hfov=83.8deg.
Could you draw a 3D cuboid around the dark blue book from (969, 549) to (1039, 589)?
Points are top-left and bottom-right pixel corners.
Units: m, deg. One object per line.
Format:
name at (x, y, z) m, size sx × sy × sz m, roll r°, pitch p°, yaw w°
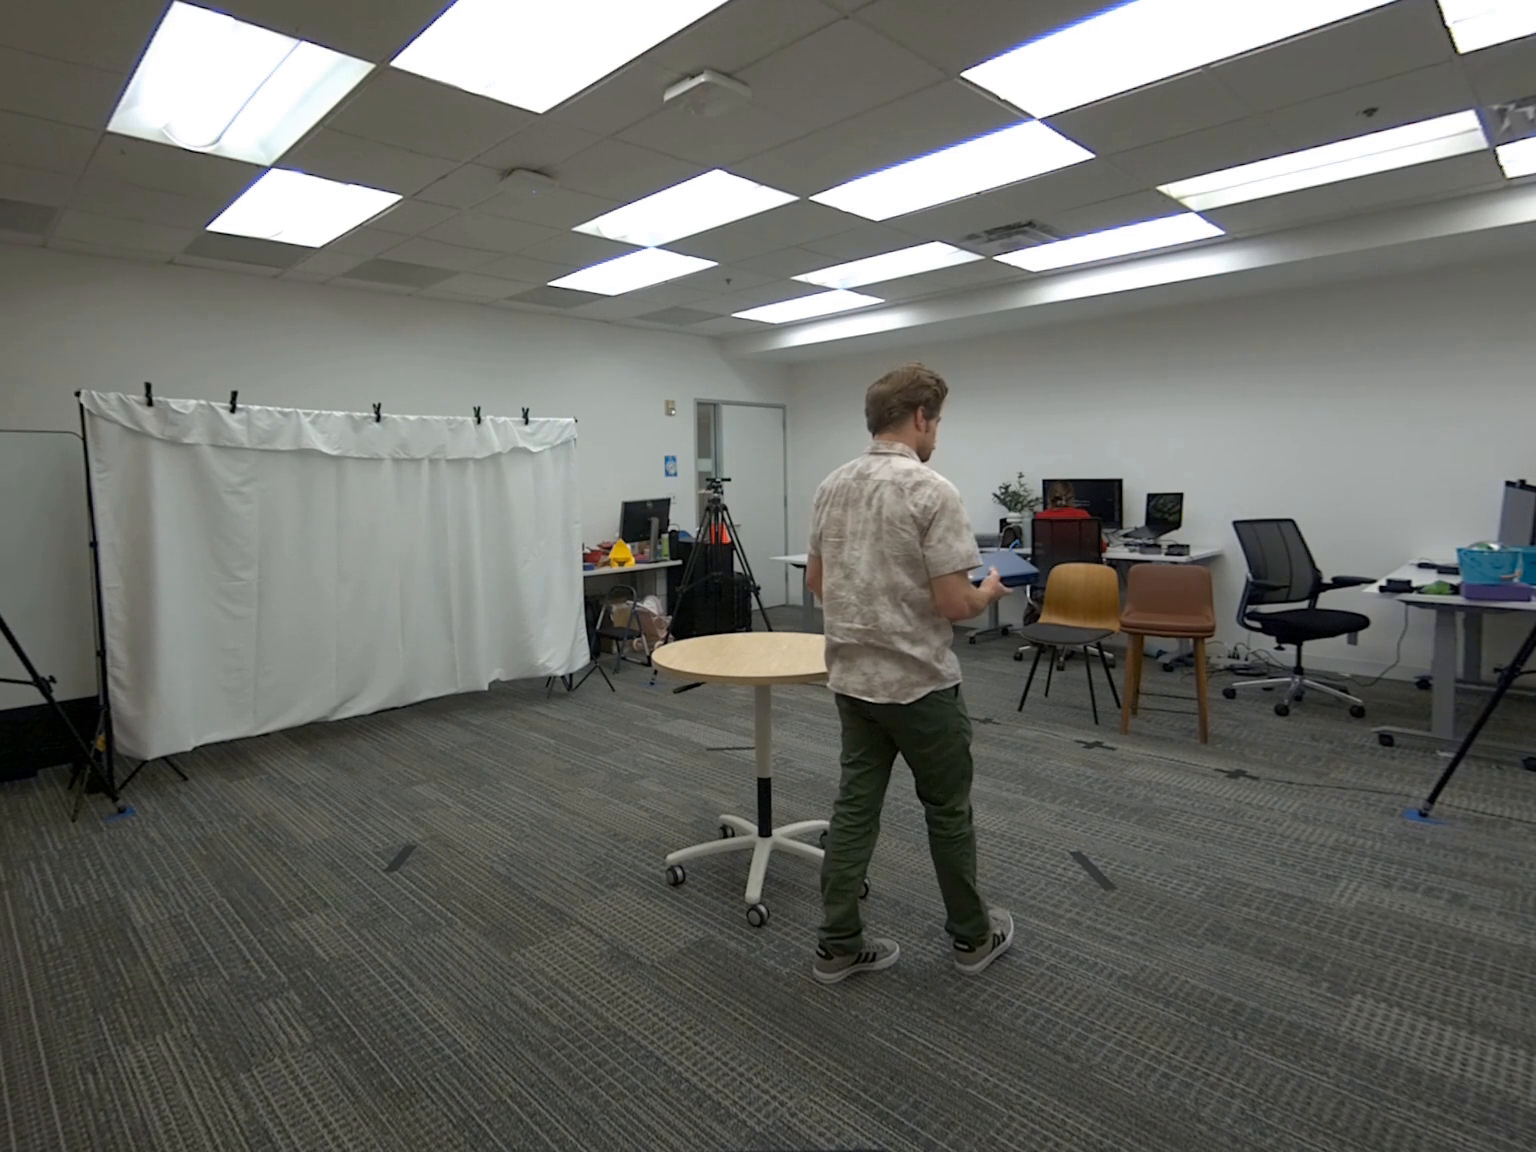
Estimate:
dark blue book at (0.667, -0.017, 2.520) m, size 0.243 × 0.044 × 0.168 m, roll -7°, pitch 24°, yaw -11°
